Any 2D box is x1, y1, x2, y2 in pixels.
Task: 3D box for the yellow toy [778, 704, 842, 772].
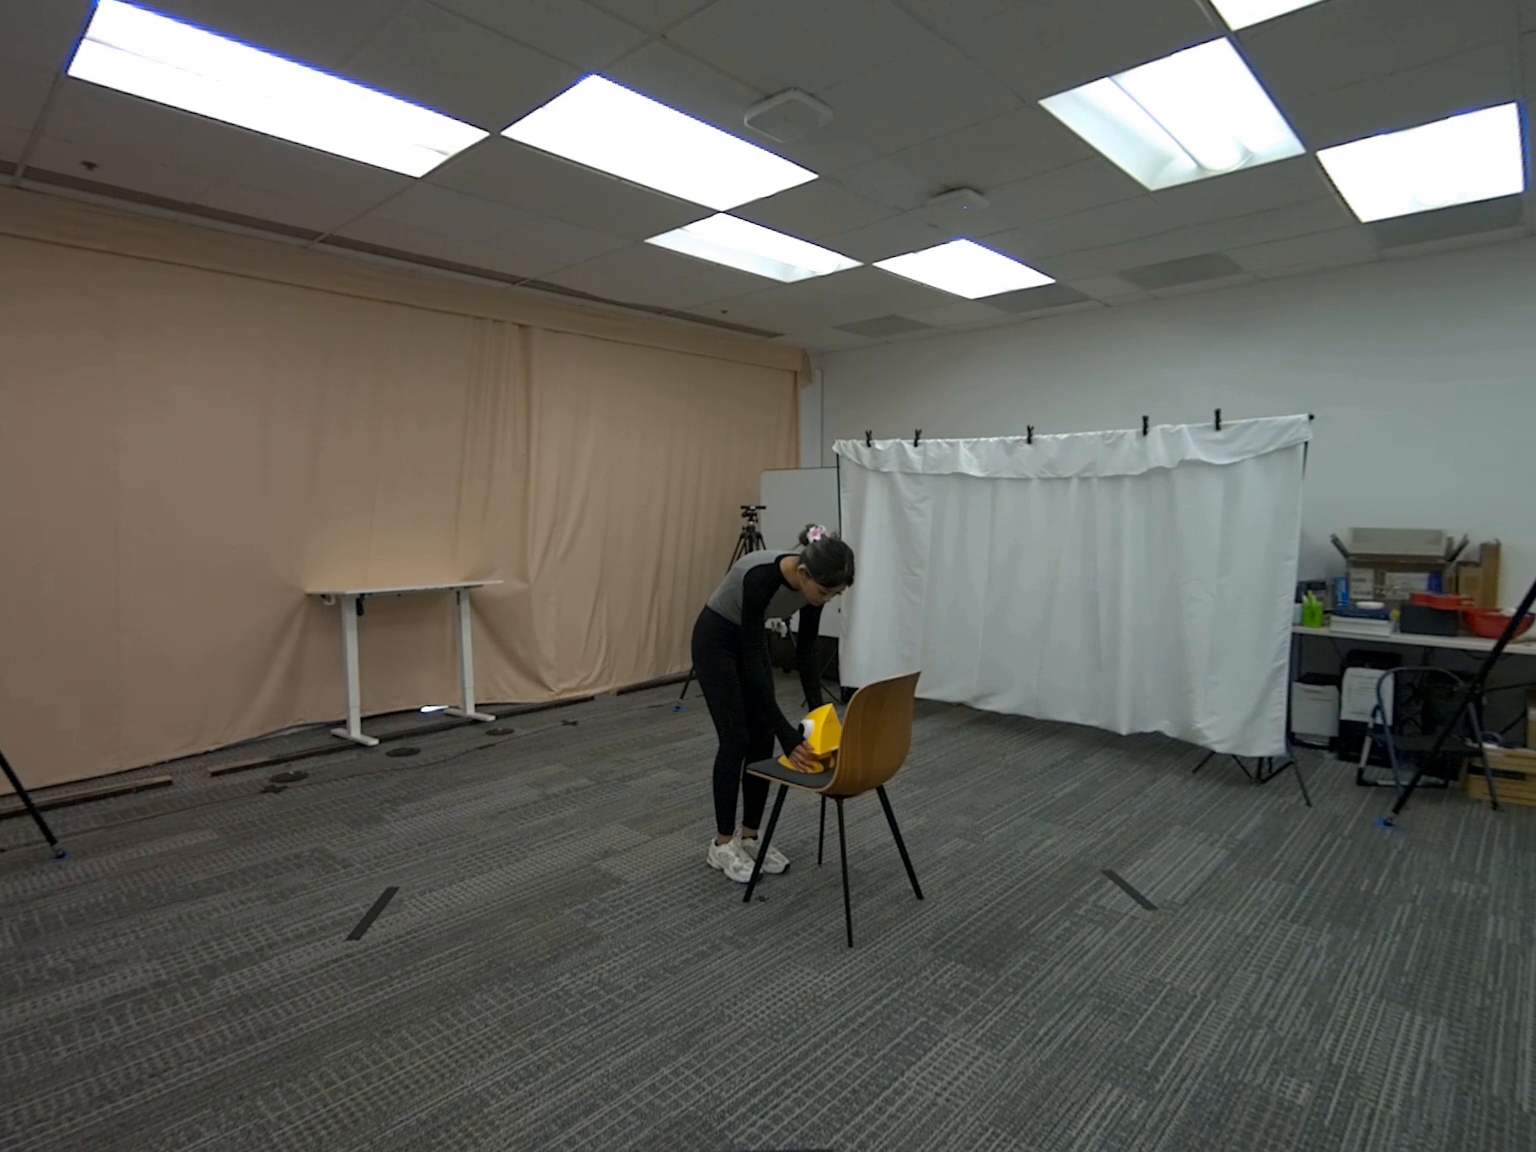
[{"bbox_3d":[0.161,0.548,2.958,0.199,0.230,0.199,9,6,34],"label":"yellow toy"}]
